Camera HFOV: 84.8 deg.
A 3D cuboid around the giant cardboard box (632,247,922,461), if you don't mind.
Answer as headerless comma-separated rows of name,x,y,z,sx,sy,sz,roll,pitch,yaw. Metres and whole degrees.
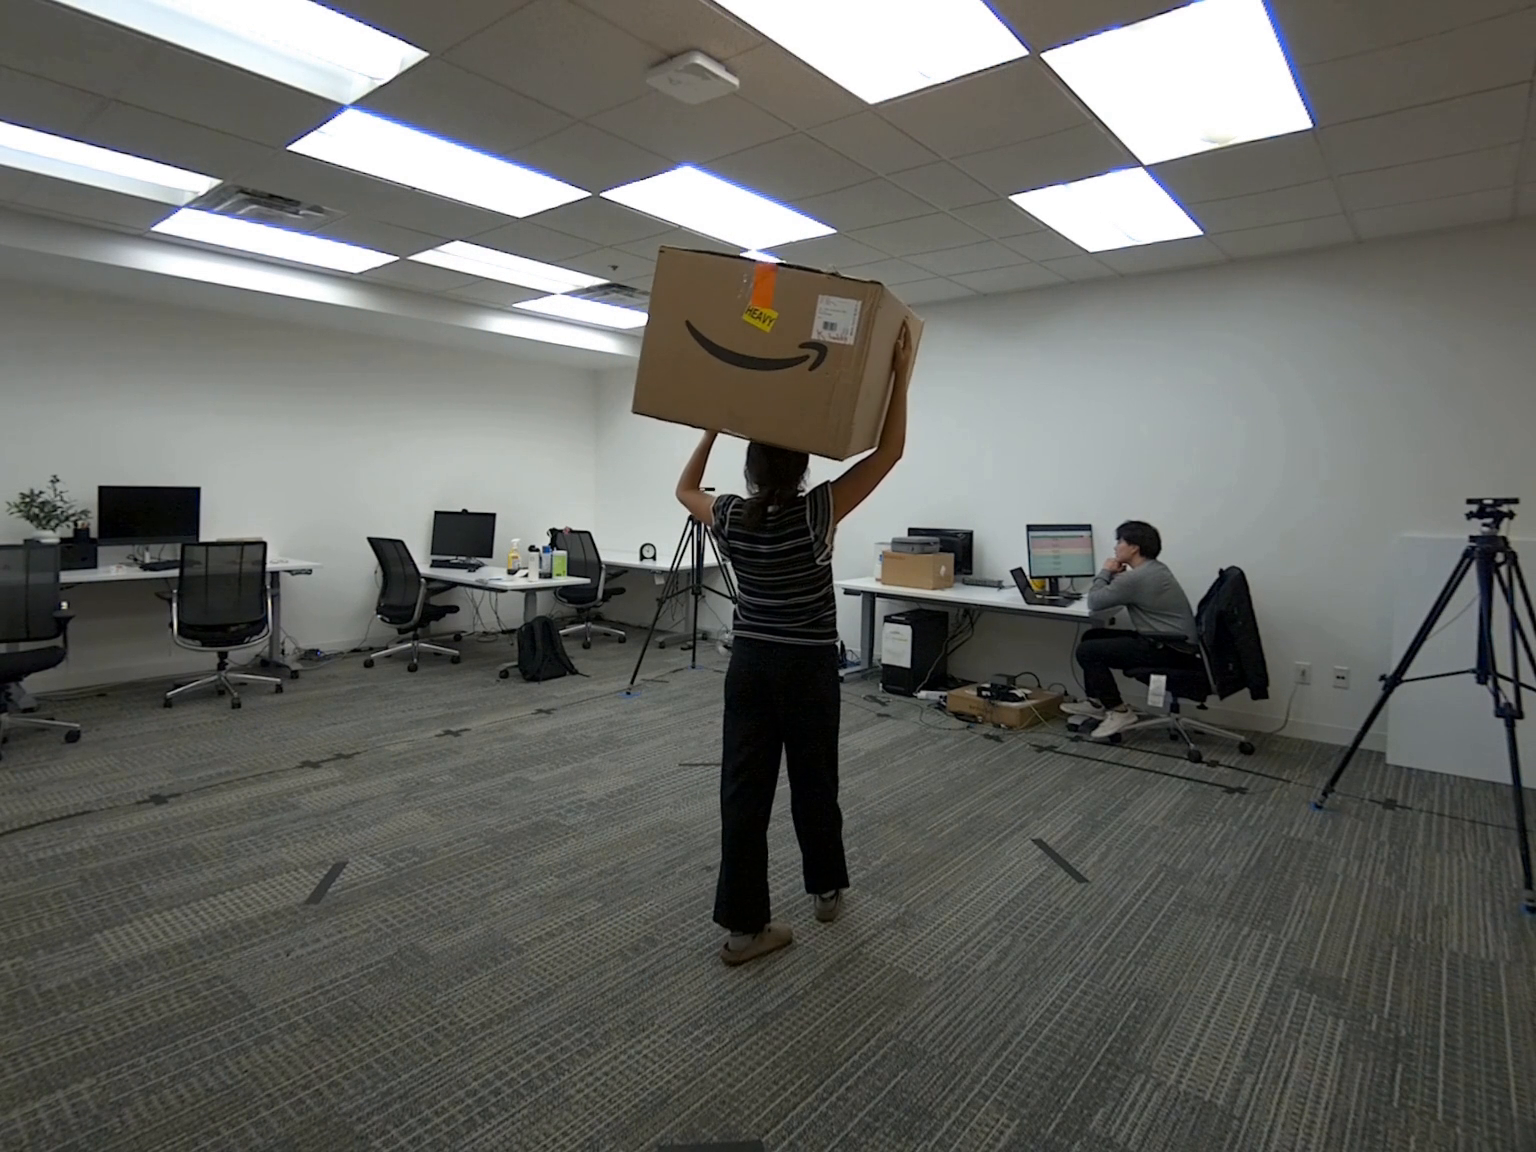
giant cardboard box,0.078,-0.651,2.559,0.588,0.422,1.018,14,15,13
